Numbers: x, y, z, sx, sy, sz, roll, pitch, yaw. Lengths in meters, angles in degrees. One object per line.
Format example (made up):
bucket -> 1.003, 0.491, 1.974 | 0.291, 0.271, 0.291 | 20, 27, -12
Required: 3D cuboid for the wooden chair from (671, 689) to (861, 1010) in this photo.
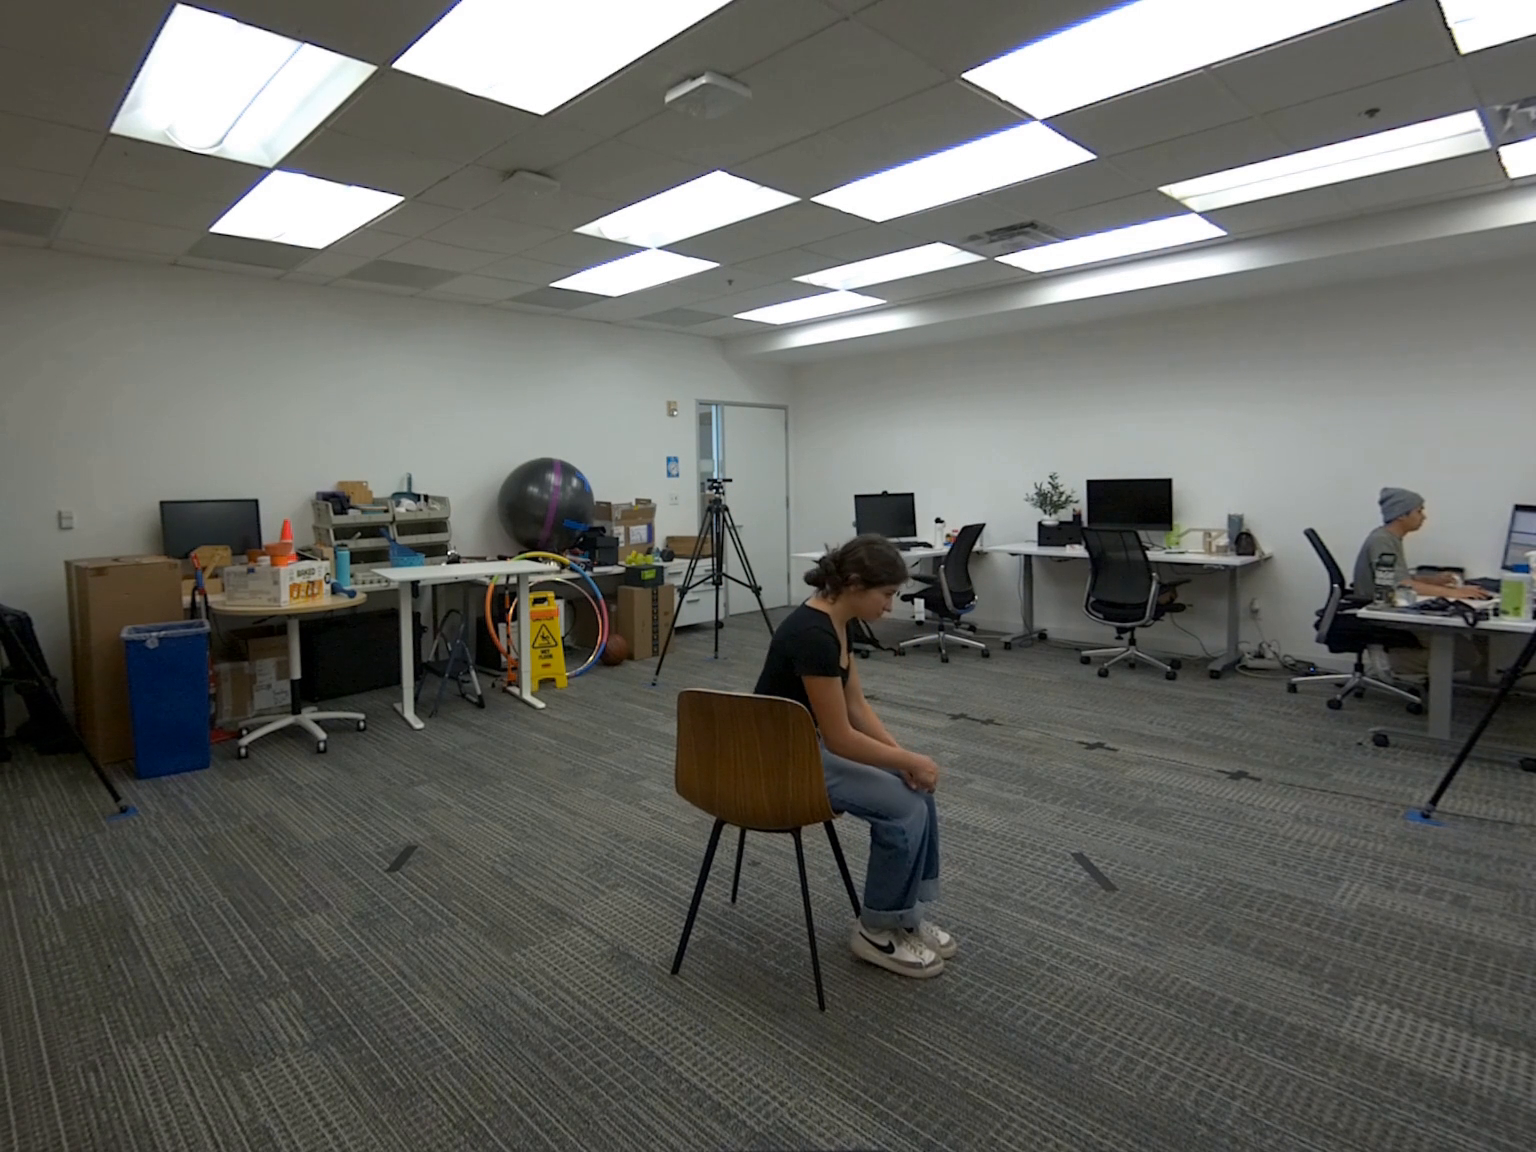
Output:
wooden chair -> 0.012, 0.691, 2.509 | 0.488, 0.870, 0.516 | 2, 9, 22
